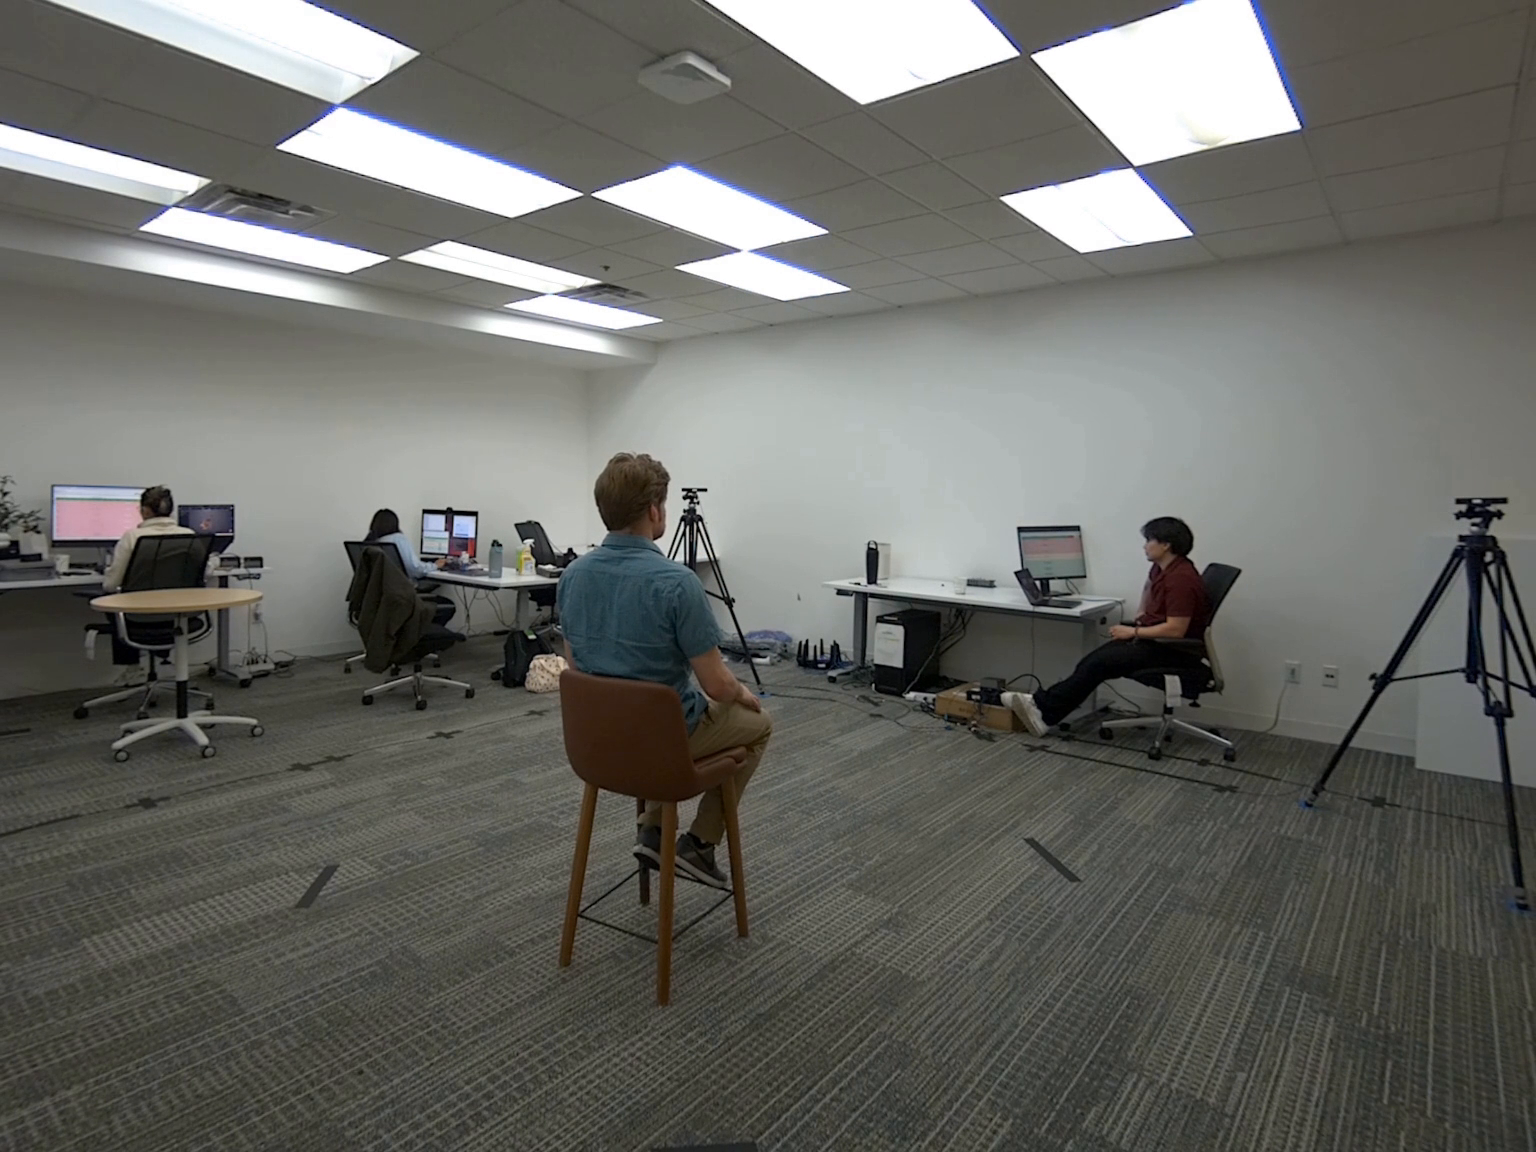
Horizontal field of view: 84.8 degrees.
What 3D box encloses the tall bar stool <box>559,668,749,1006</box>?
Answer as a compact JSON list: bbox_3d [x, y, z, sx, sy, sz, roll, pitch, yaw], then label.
[{"bbox_3d":[-0.352,0.686,2.536,0.470,0.886,0.457,2,6,30],"label":"tall bar stool"}]
